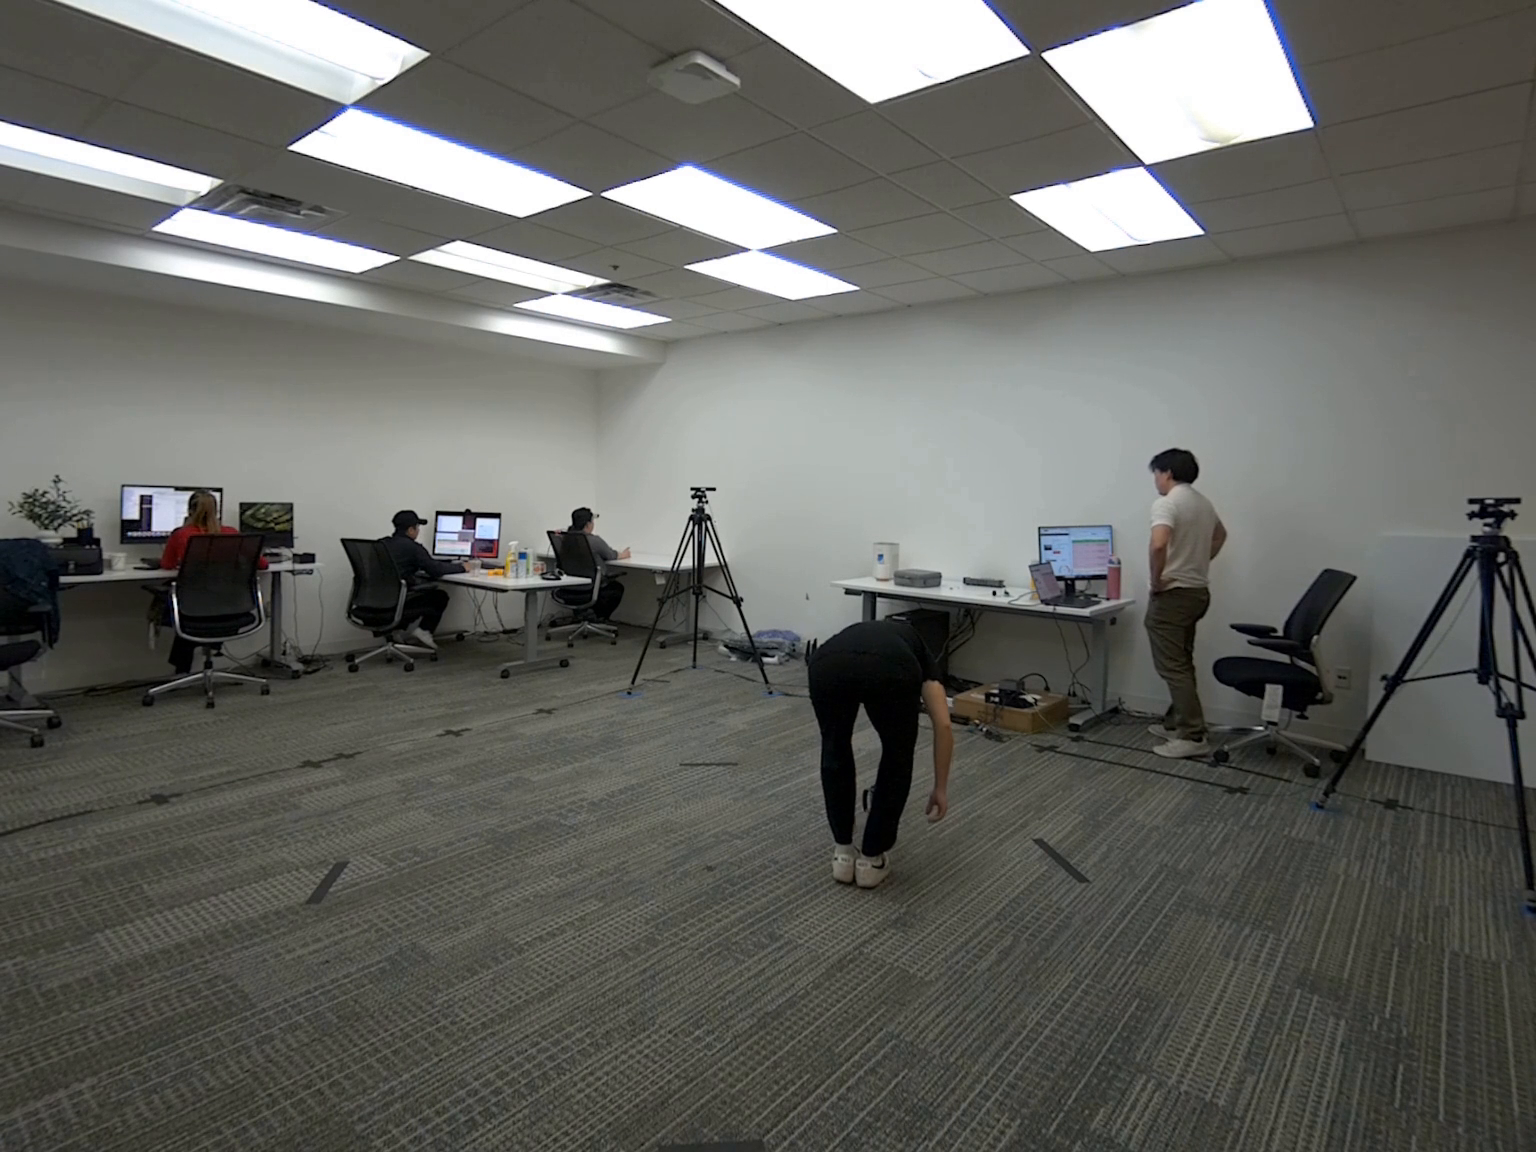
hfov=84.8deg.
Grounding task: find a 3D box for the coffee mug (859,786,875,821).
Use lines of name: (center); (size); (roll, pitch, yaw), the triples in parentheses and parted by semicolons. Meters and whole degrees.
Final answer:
coffee mug: (0.434, 0.947, 3.425); (0.086, 0.202, 0.125); (-3, 6, -20)
